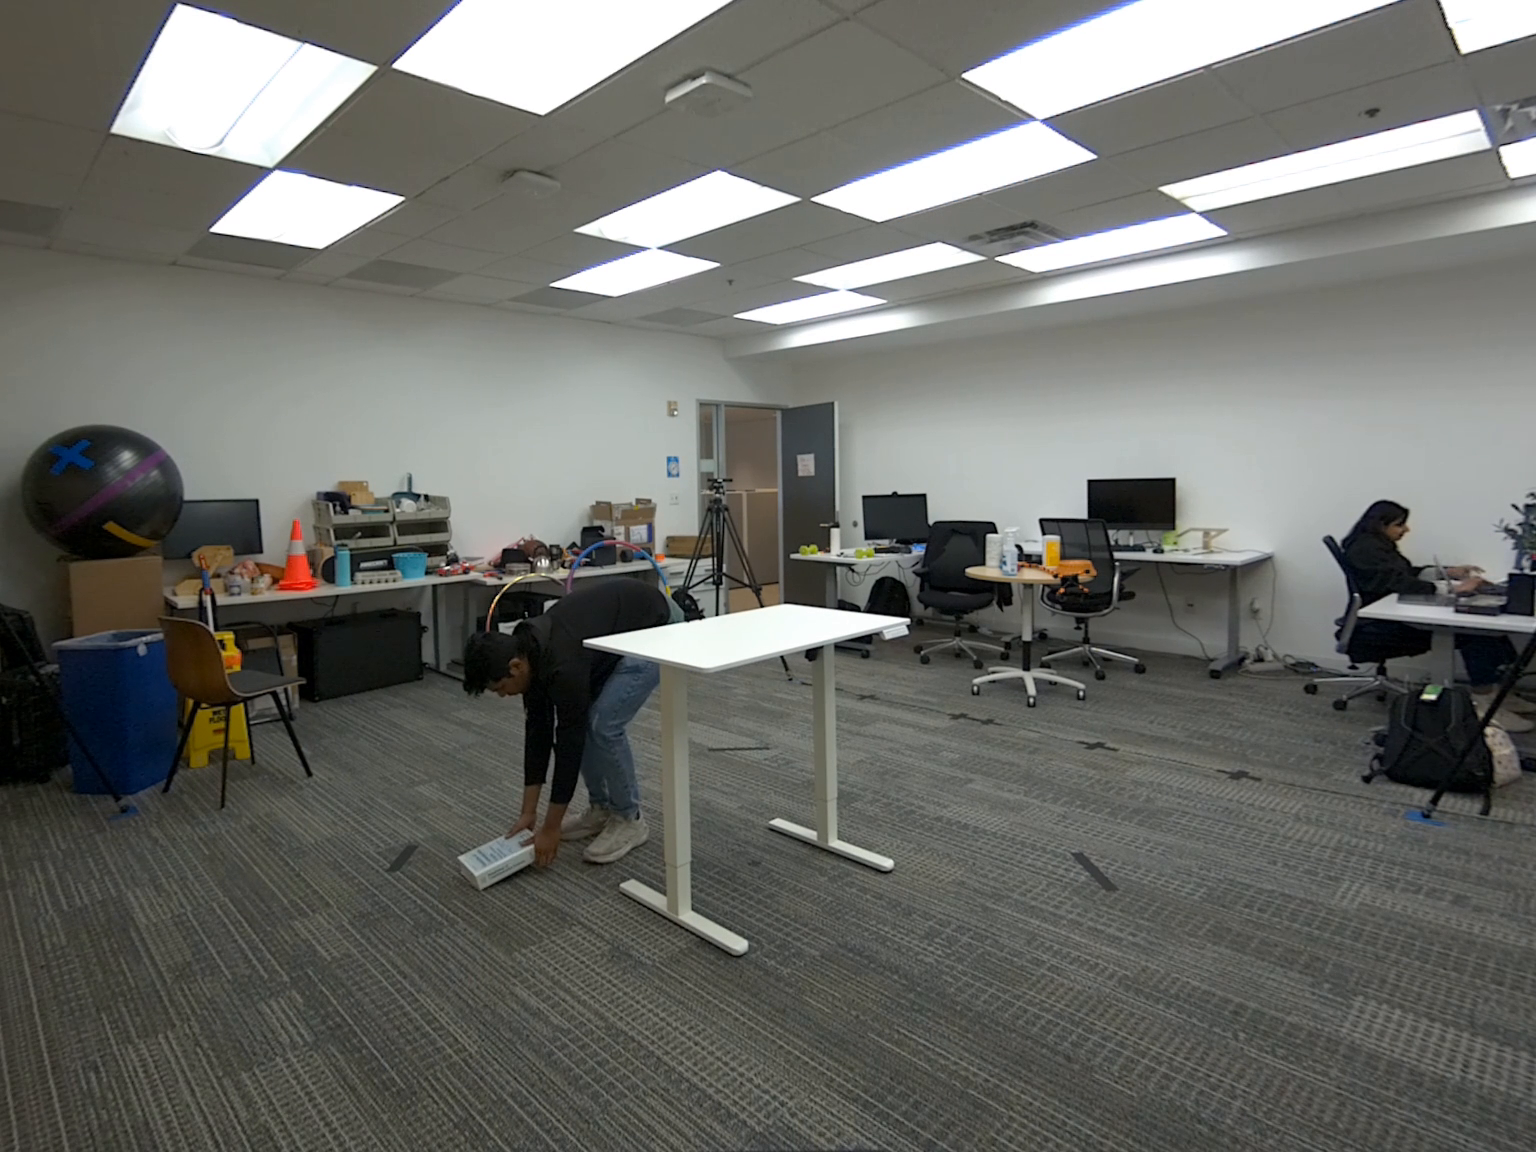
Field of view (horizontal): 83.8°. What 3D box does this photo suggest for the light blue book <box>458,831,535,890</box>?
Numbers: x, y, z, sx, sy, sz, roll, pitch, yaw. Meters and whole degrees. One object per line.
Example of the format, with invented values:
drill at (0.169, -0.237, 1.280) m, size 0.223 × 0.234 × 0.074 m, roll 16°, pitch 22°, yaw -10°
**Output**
light blue book at (-0.954, 1.010, 3.074) m, size 0.256 × 0.058 × 0.197 m, roll -16°, pitch 13°, yaw -33°
